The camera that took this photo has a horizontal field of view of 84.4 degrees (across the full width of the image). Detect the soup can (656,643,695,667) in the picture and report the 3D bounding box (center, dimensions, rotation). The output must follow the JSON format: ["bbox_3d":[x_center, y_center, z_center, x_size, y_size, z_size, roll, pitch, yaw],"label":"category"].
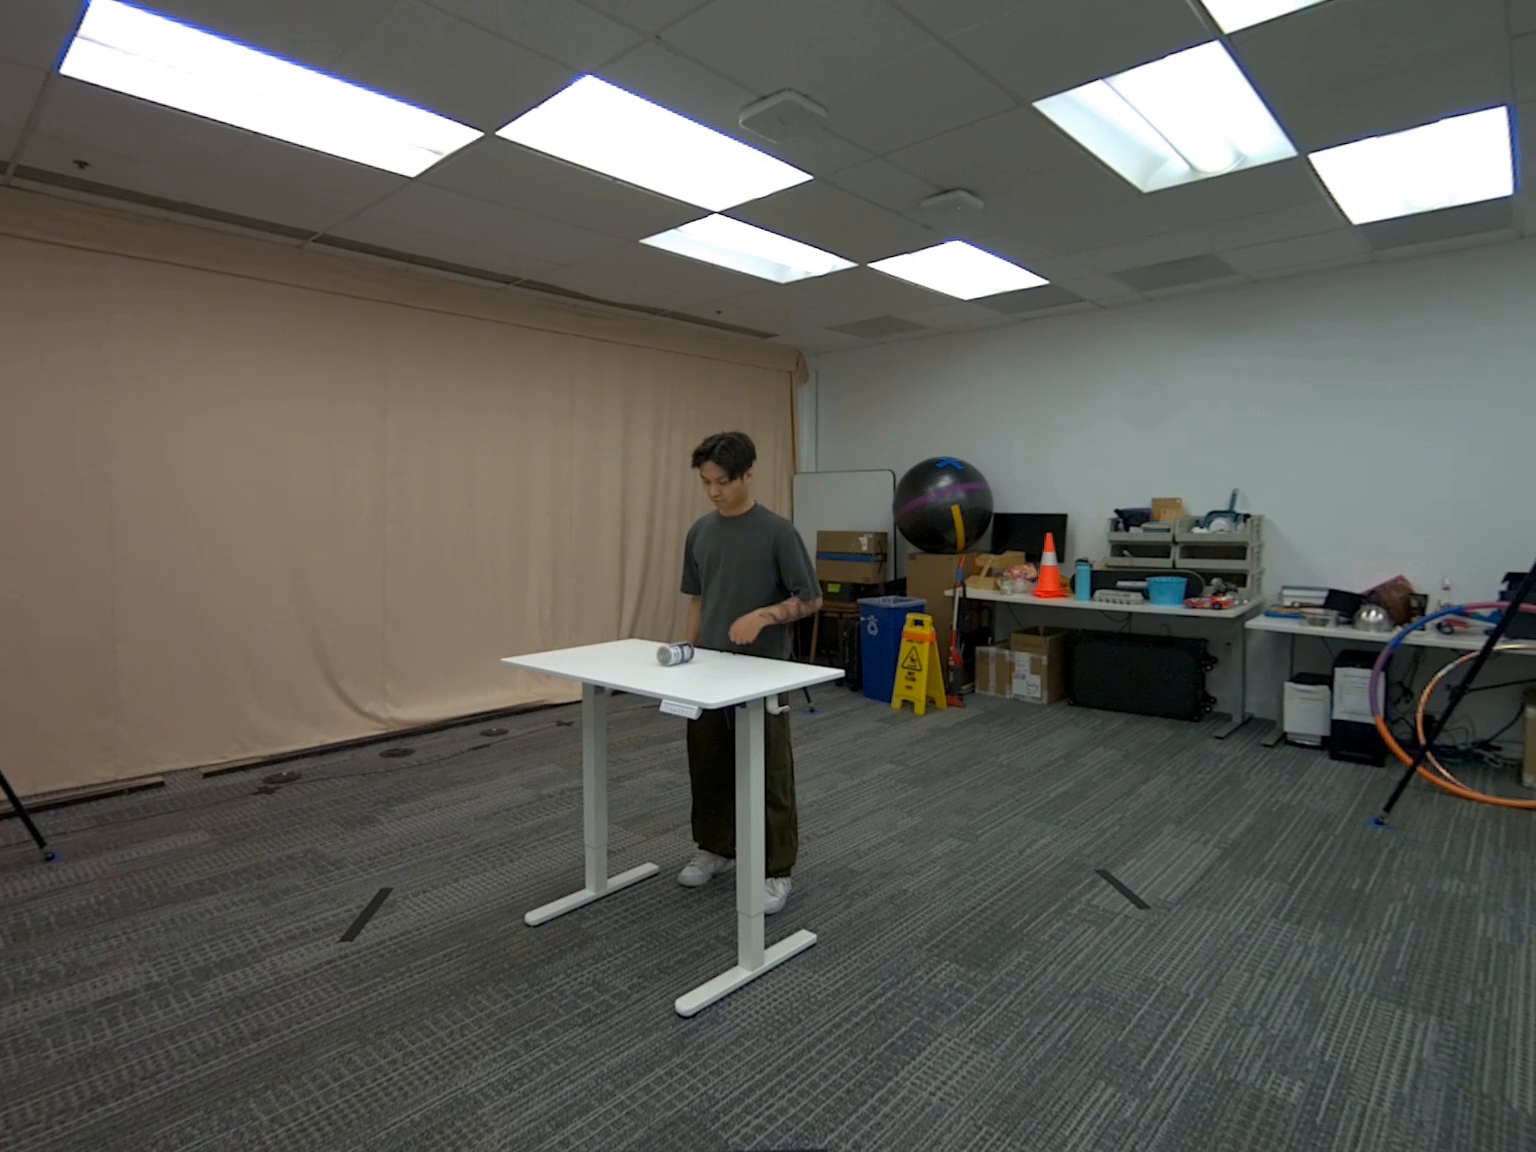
[{"bbox_3d":[-0.302,0.250,2.739,0.069,0.067,0.118,2,6,28],"label":"soup can"}]
